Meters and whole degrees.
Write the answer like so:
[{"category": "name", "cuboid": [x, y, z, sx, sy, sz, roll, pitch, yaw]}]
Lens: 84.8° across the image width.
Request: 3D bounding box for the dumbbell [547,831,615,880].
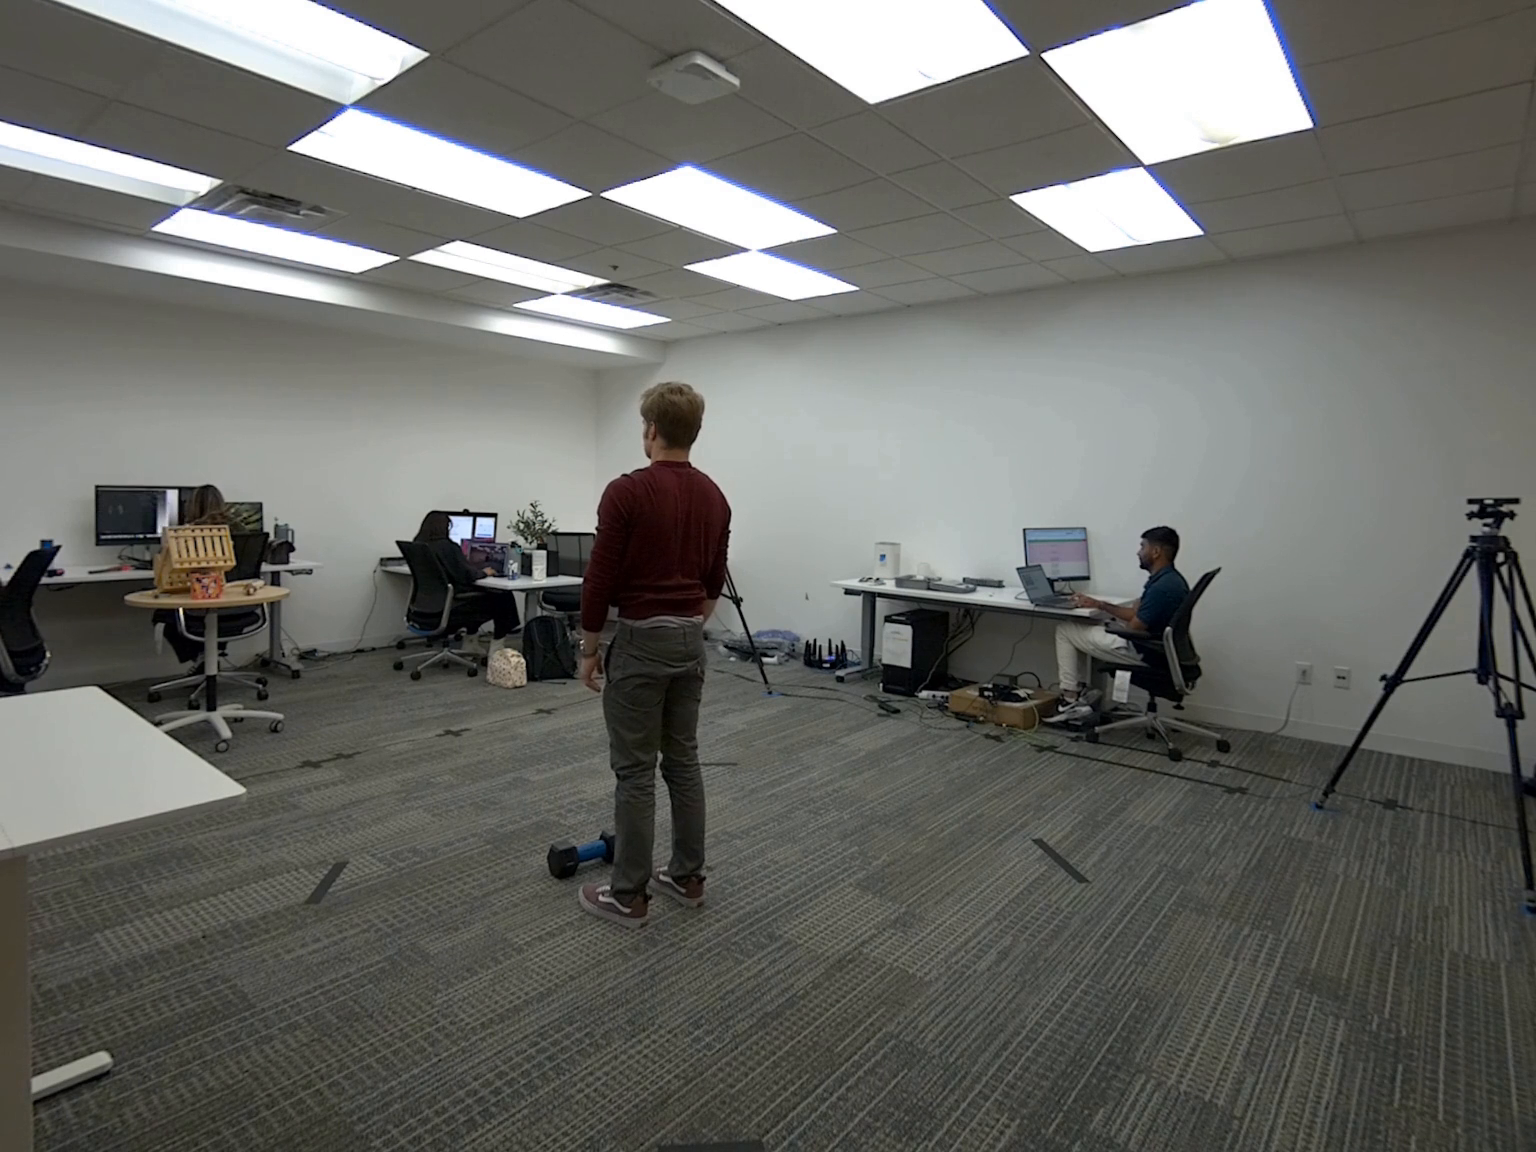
[{"category": "dumbbell", "cuboid": [-0.664, 1.006, 3.102, 0.285, 0.121, 0.113, -3, 32, -40]}]
